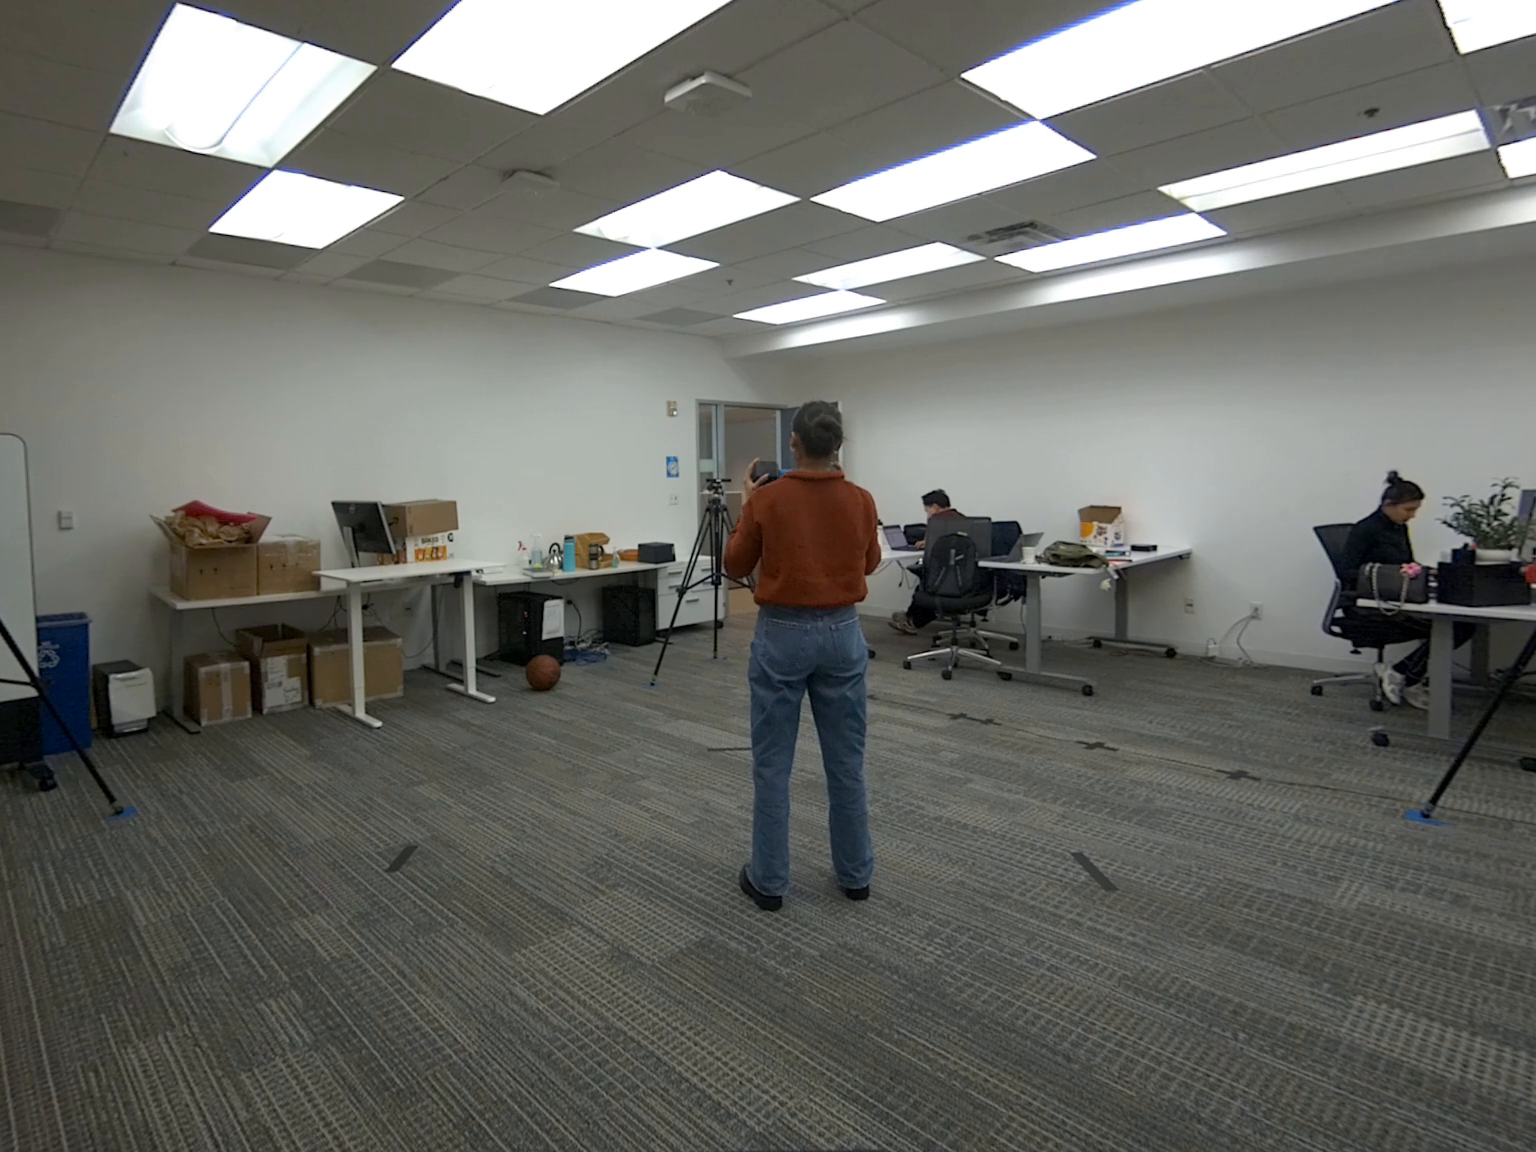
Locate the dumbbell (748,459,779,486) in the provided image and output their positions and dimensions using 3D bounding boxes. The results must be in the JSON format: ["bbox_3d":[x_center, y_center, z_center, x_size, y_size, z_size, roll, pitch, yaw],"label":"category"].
[{"bbox_3d":[0.100,-0.335,2.943,0.290,0.121,0.112,6,37,-11],"label":"dumbbell"}]
